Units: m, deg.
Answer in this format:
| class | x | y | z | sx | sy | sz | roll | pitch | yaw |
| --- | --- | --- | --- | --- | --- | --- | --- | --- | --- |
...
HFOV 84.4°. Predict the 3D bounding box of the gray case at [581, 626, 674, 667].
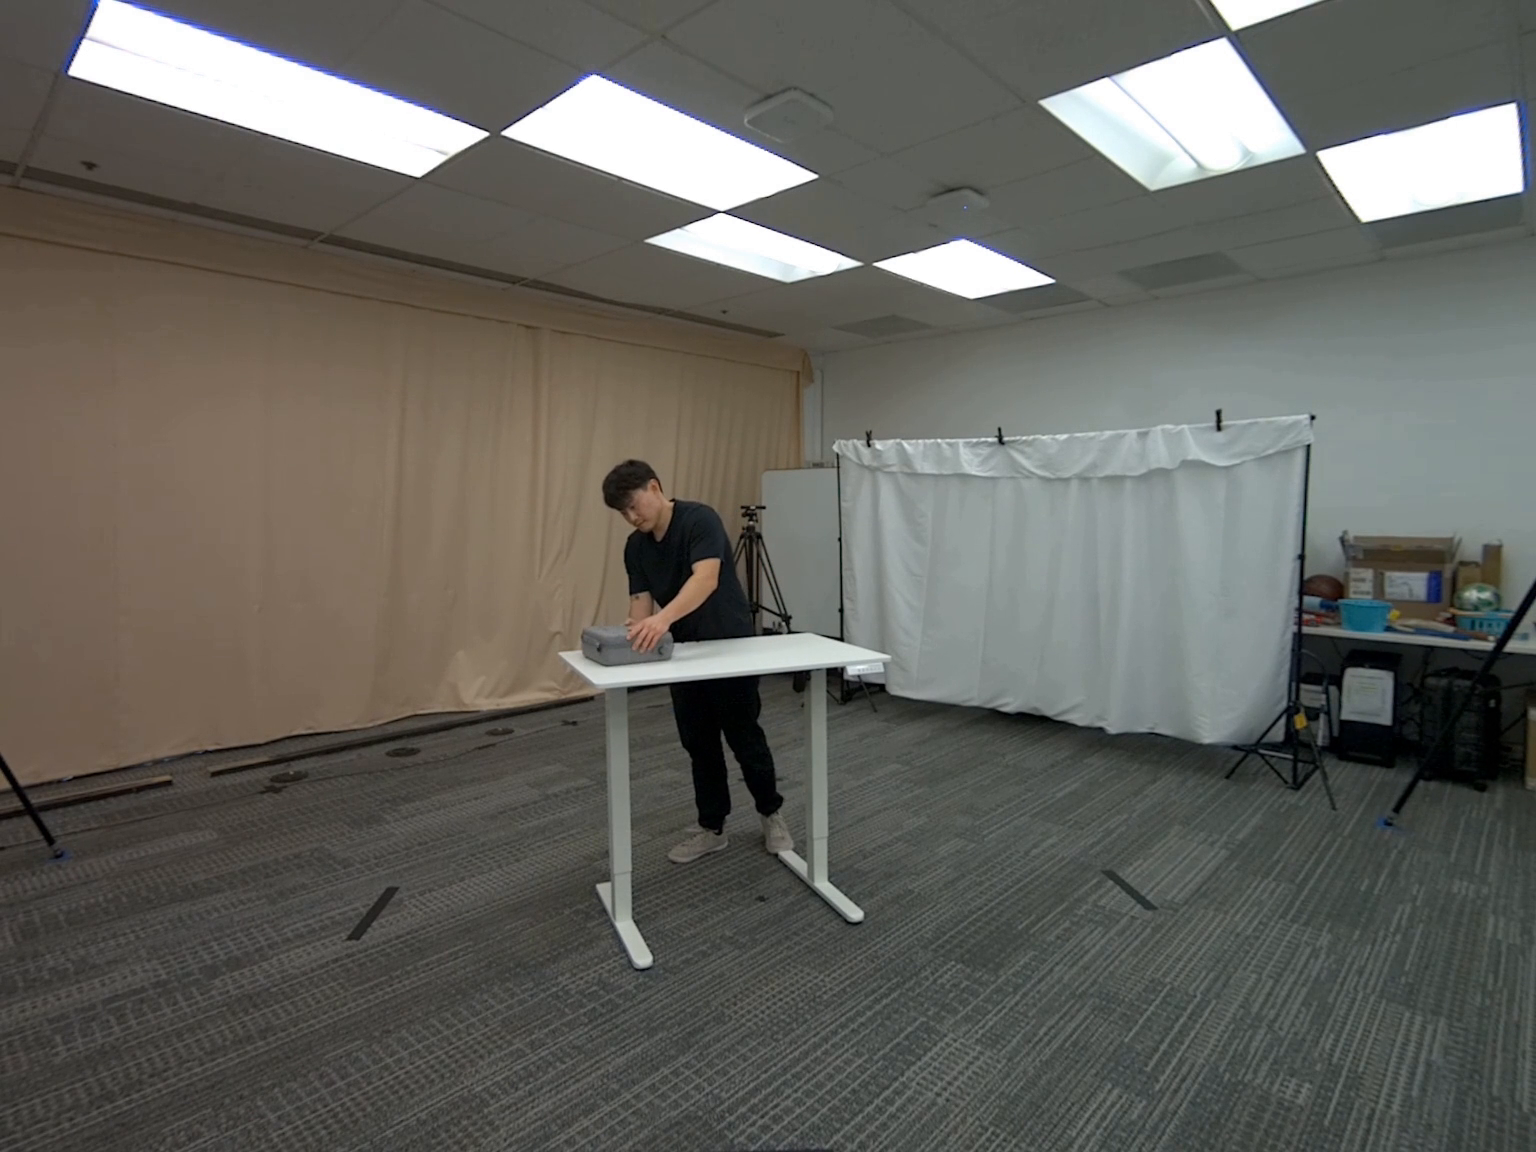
| class | x | y | z | sx | sy | sz | roll | pitch | yaw |
| --- | --- | --- | --- | --- | --- | --- | --- | --- | --- |
| gray case | -0.471 | 0.227 | 2.847 | 0.254 | 0.104 | 0.263 | 0 | 2 | -26 |
